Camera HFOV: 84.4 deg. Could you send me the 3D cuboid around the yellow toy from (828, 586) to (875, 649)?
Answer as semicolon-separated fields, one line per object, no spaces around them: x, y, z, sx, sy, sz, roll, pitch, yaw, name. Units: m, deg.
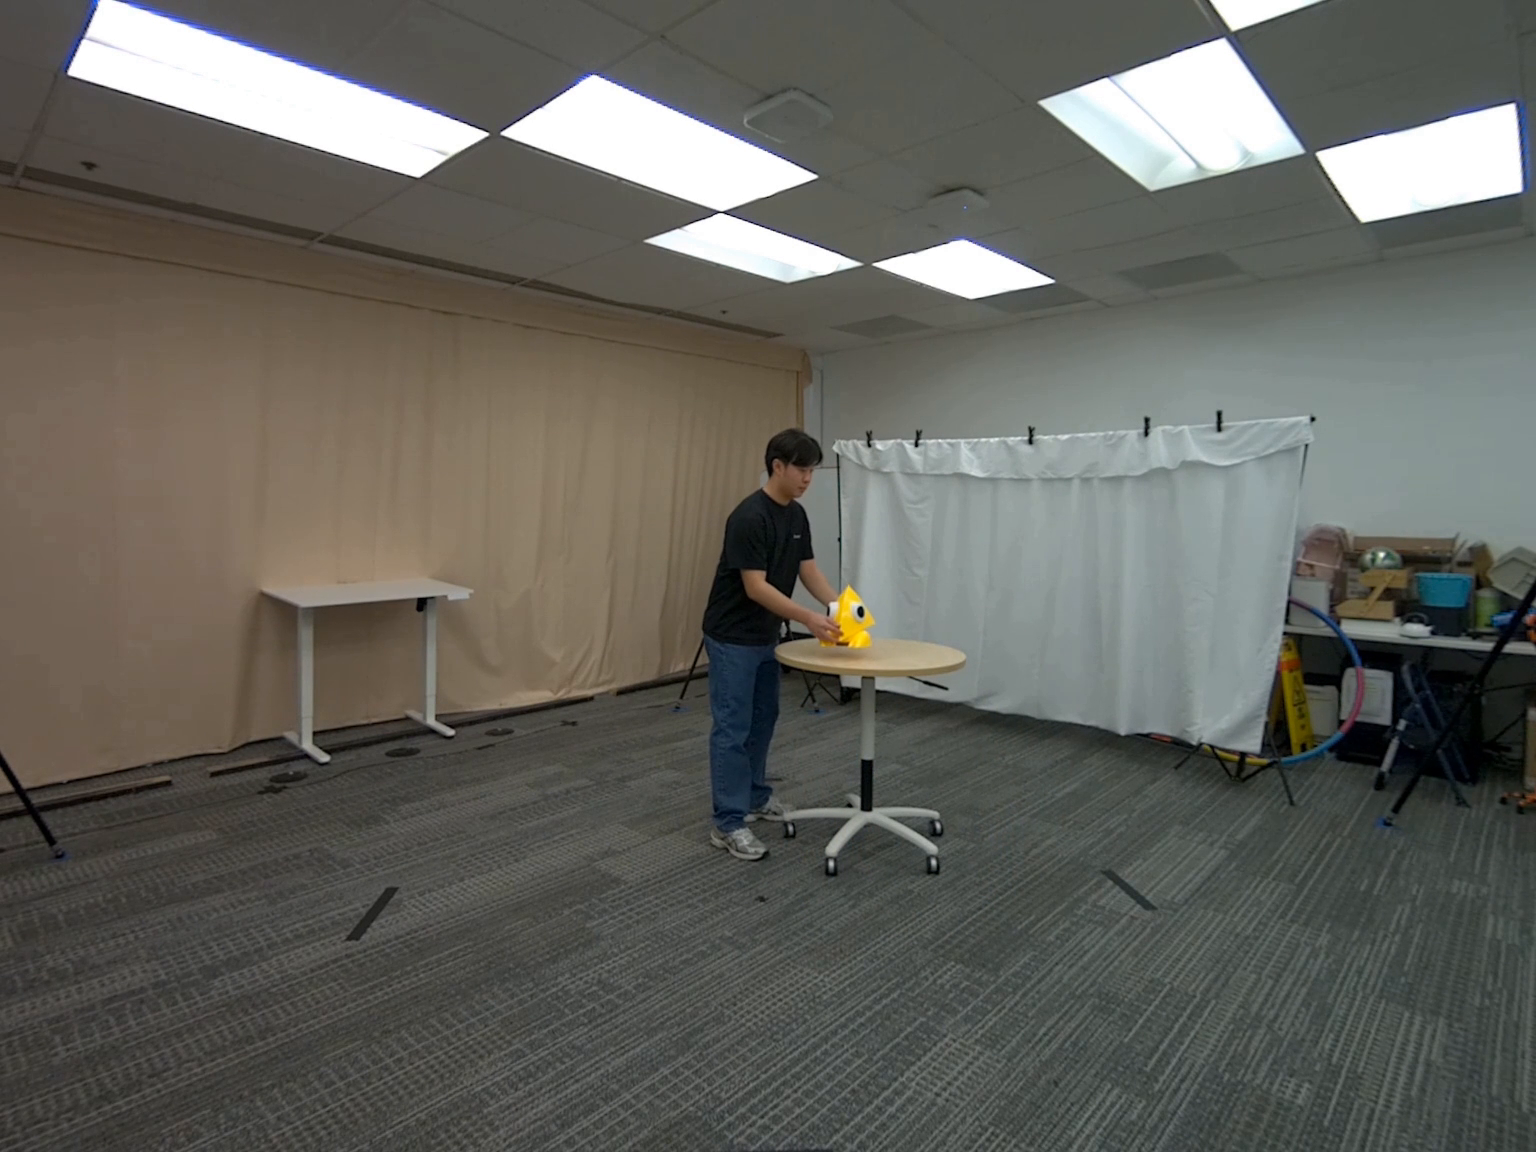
0.316;0.156;3.316;0.209;0.231;0.189;0;0;21;yellow toy
